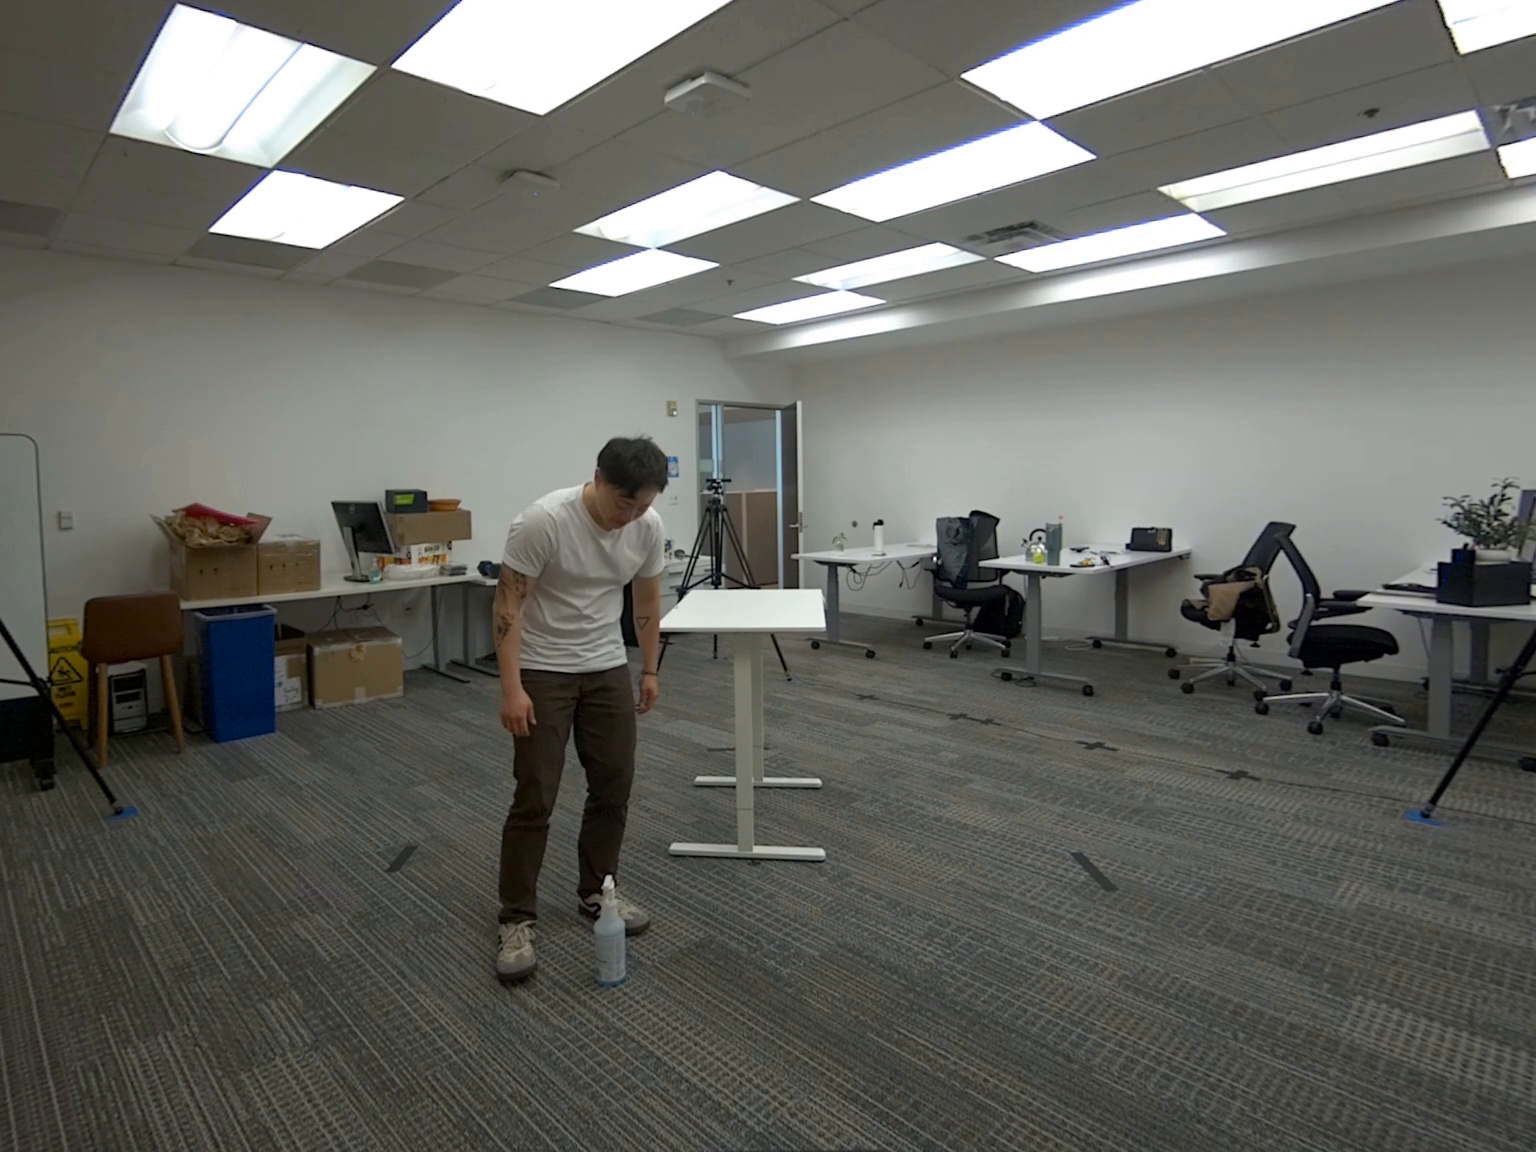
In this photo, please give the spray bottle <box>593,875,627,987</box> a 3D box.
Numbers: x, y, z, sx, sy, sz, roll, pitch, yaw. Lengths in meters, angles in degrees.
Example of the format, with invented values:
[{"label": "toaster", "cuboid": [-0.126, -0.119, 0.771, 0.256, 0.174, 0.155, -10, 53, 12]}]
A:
[{"label": "spray bottle", "cuboid": [-0.438, 0.996, 2.390, 0.089, 0.296, 0.088, 3, 5, 27]}]
